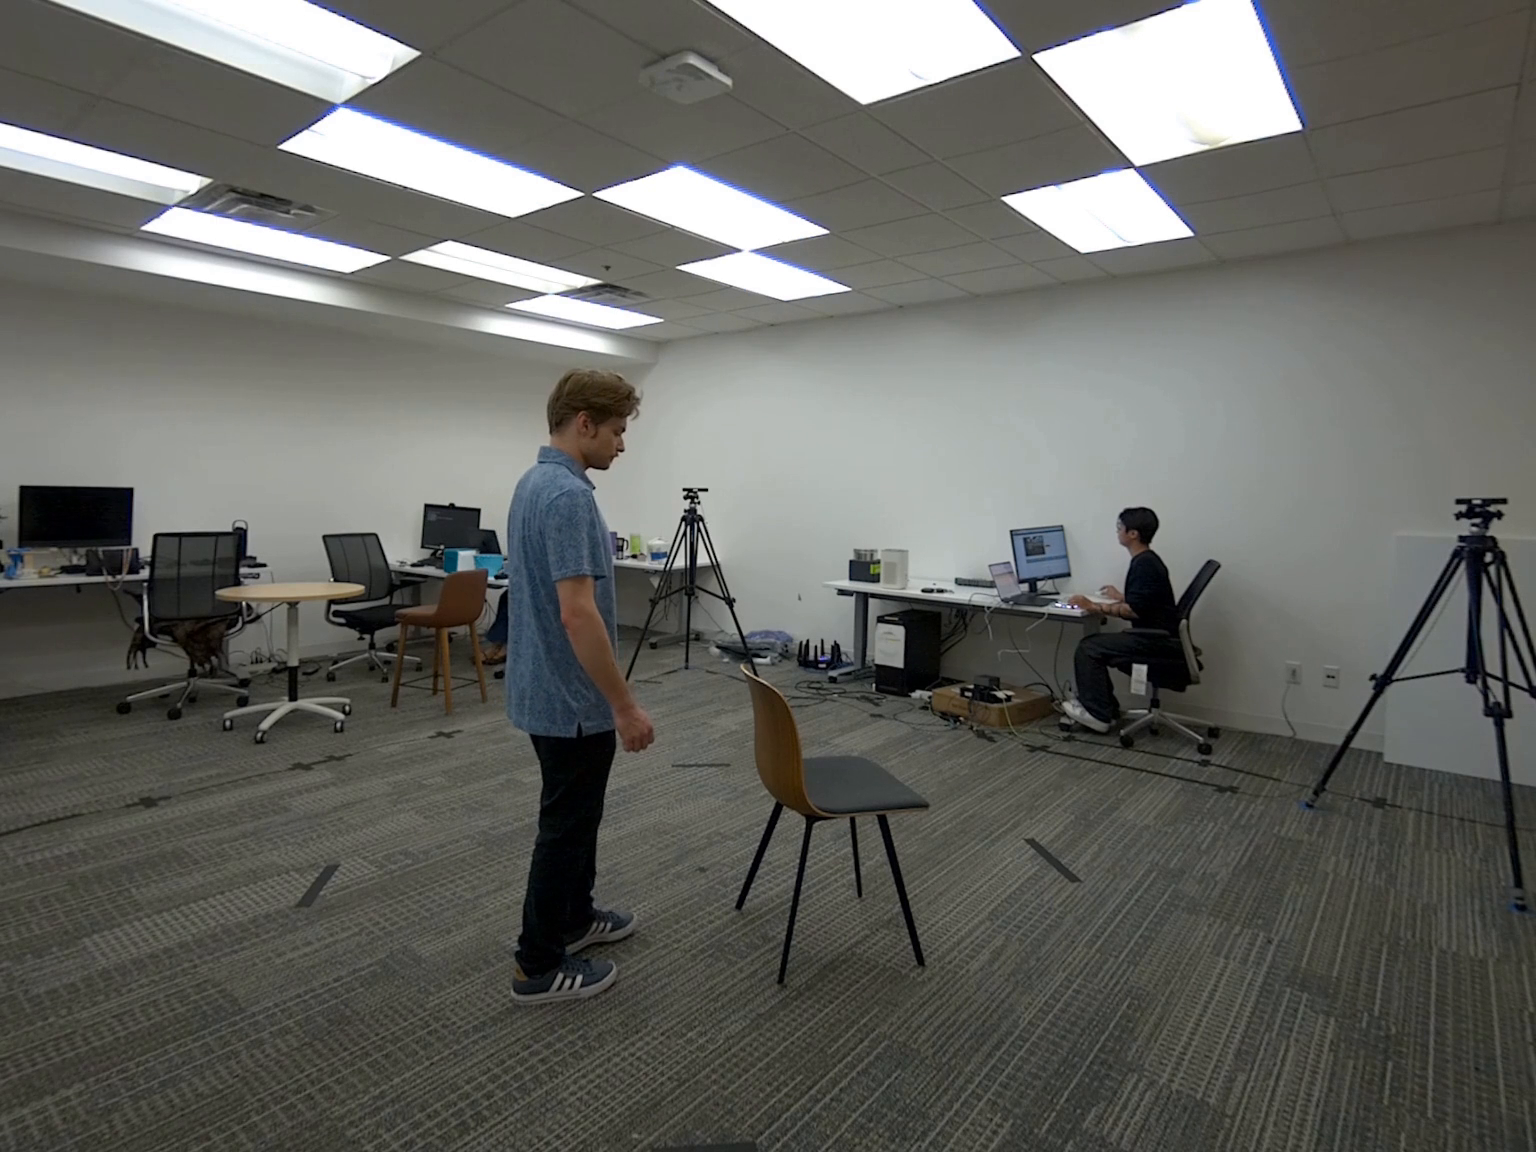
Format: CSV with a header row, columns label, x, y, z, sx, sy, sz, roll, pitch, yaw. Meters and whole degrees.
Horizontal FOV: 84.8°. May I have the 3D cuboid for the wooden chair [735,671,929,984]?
label,x,y,z,sx,sy,sz,roll,pitch,yaw
wooden chair,0.190,0.694,2.643,0.515,0.874,0.488,-4,4,-17
